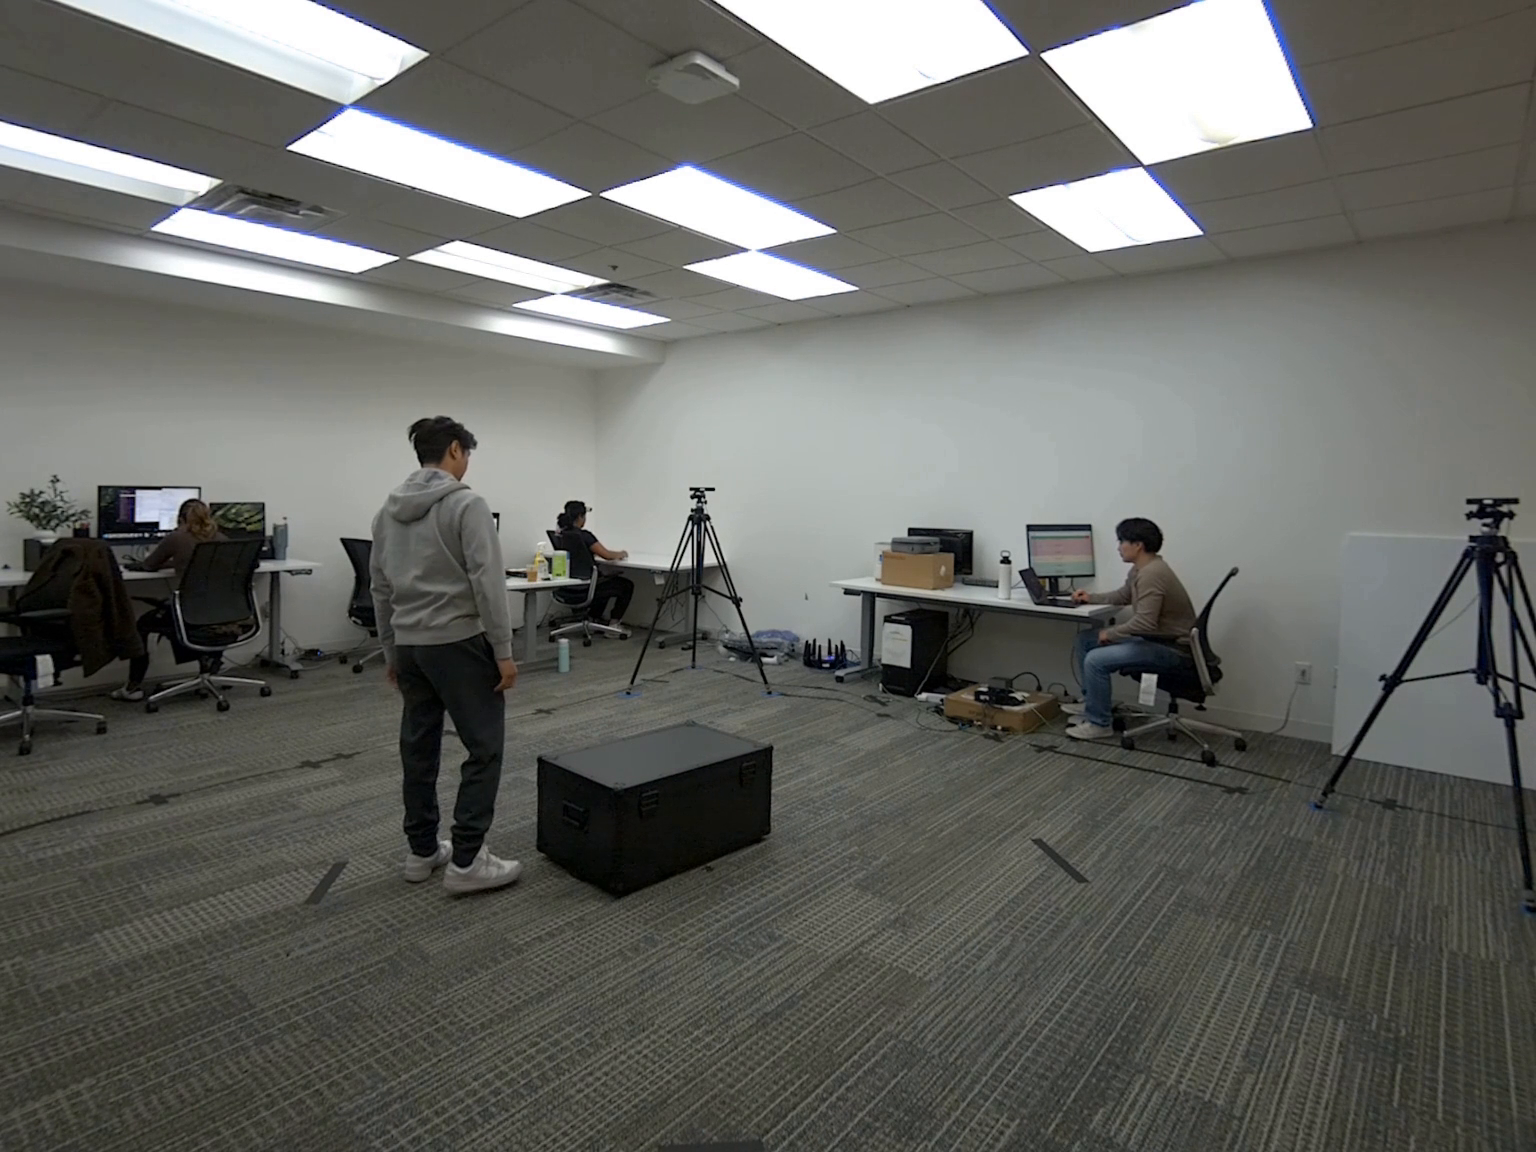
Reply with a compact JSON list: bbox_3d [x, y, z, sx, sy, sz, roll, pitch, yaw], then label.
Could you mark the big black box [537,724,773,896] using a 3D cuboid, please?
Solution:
[{"bbox_3d":[-0.410,0.855,3.292,0.539,0.395,0.836,5,7,43],"label":"big black box"}]
